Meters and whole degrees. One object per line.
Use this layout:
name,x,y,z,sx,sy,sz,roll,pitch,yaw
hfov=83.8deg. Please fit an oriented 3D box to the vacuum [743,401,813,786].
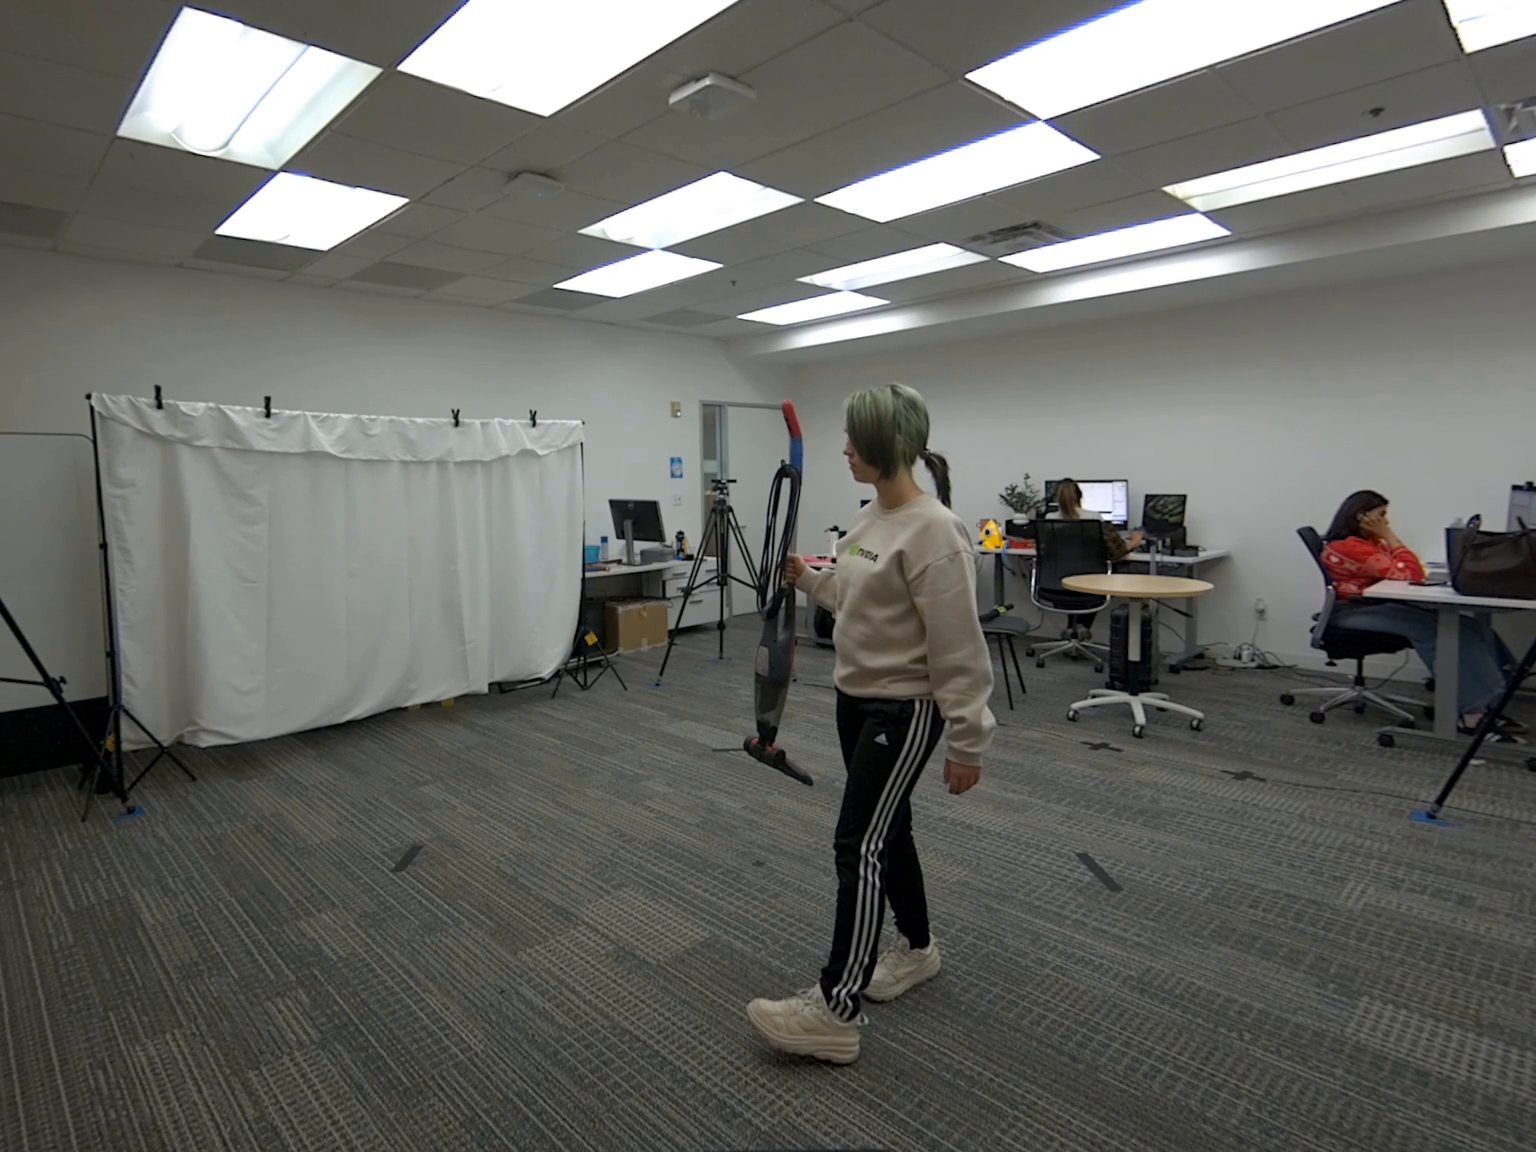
vacuum,0.028,0.036,2.468,0.261,1.041,0.140,10,12,40
